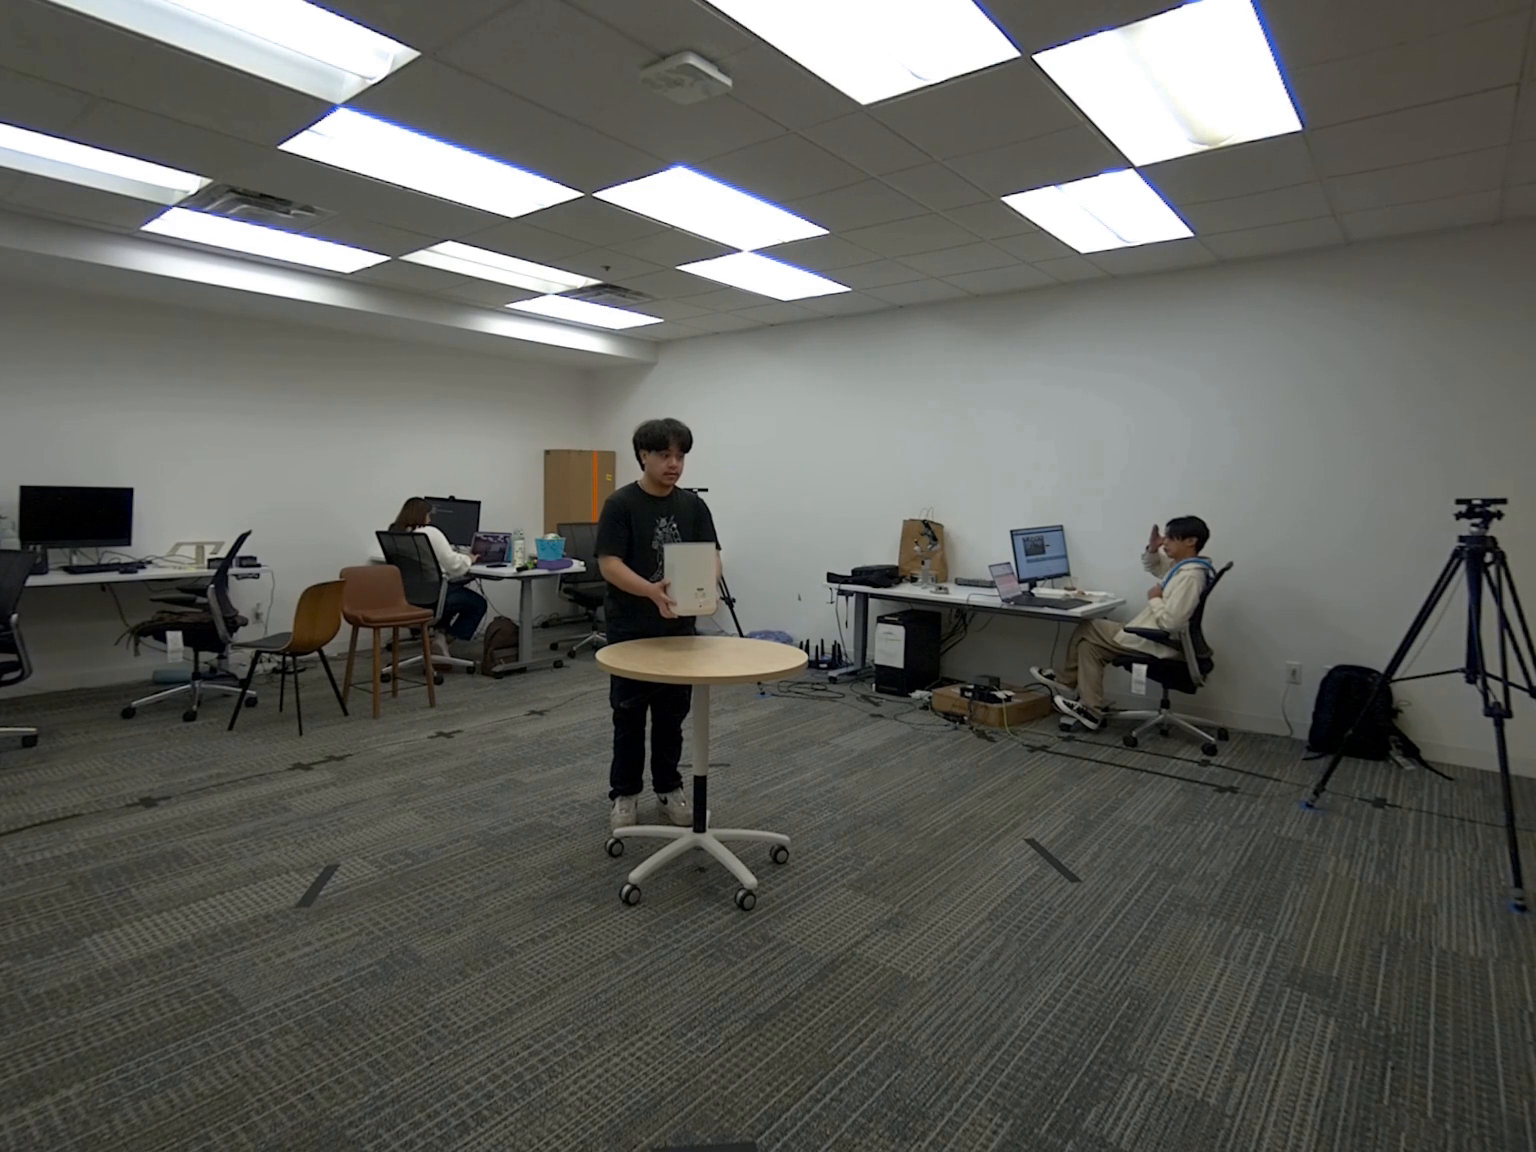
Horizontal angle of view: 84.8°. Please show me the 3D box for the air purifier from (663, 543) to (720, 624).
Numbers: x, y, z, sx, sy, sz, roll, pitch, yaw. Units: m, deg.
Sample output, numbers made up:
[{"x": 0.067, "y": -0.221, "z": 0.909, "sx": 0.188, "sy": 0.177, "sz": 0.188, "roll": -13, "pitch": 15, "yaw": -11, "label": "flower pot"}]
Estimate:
[{"x": -0.299, "y": 0.007, "z": 3.176, "sx": 0.167, "sy": 0.266, "sz": 0.176, "roll": -2, "pitch": -1, "yaw": -29, "label": "air purifier"}]
